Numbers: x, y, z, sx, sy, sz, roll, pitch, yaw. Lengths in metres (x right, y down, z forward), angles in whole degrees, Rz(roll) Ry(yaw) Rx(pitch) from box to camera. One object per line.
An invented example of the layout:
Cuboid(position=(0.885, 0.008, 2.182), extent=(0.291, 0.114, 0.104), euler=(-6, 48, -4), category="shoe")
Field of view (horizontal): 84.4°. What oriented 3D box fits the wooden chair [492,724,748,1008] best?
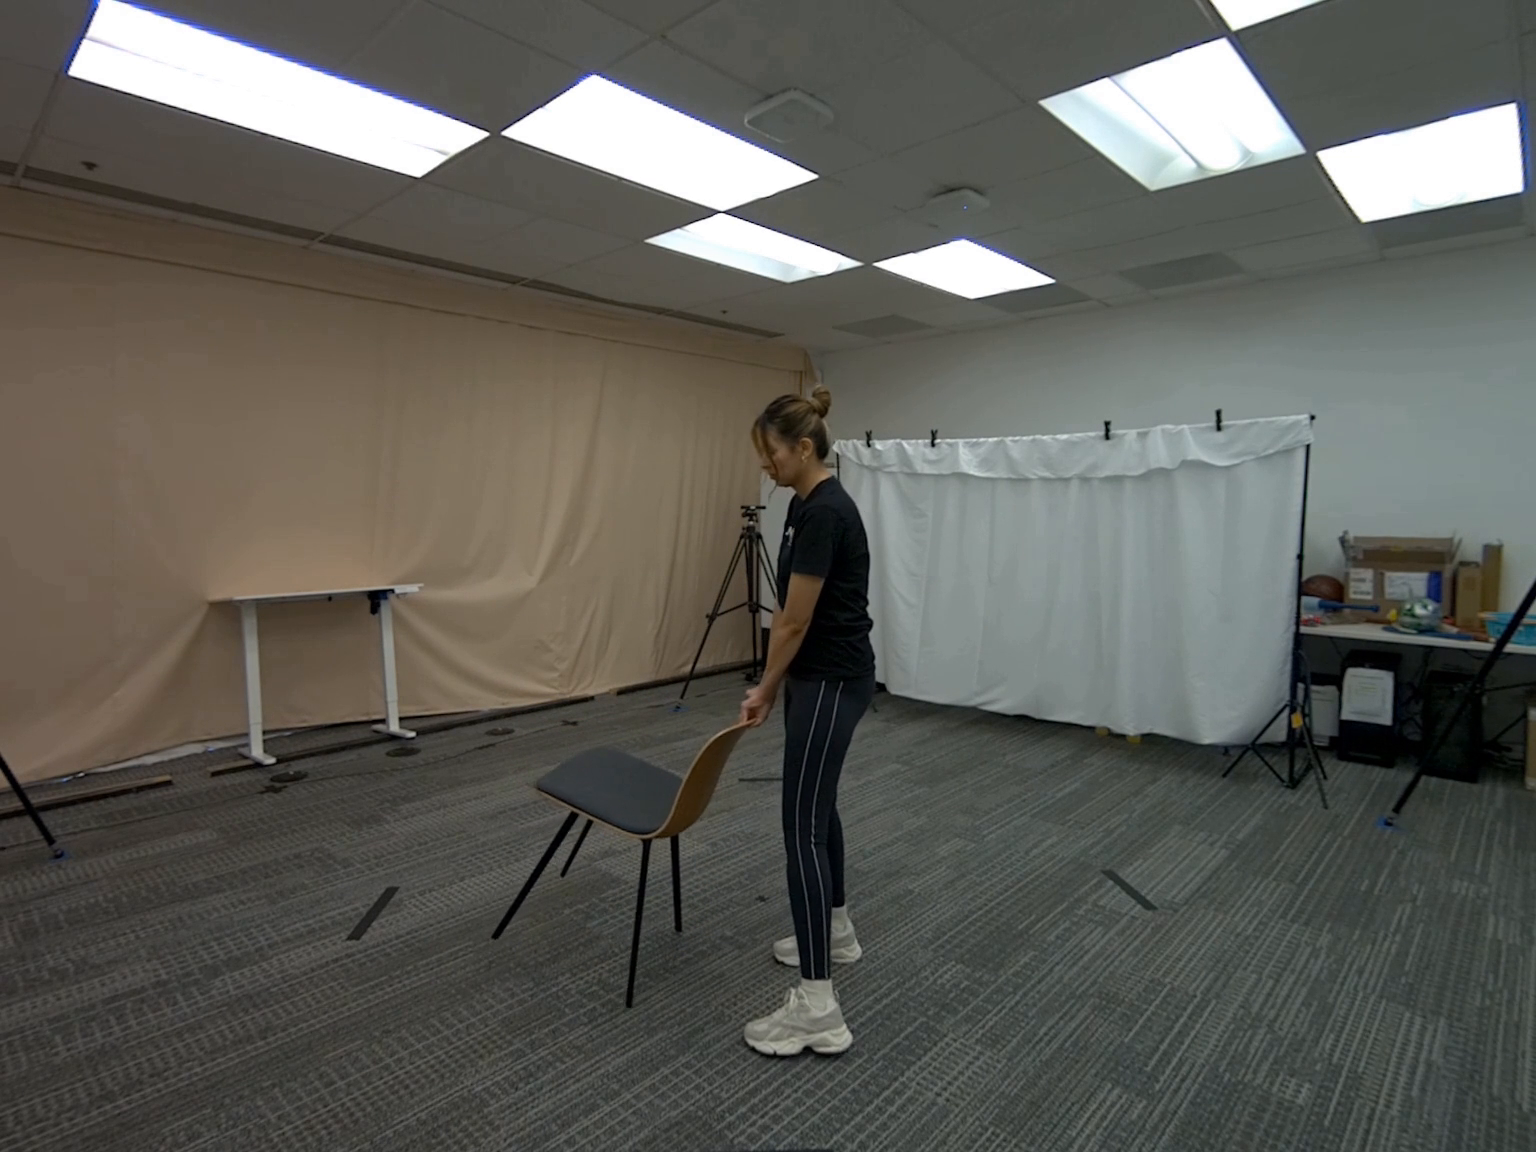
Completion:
Cuboid(position=(-0.421, 0.708, 2.543), extent=(0.532, 0.876, 0.471), euler=(23, 9, 13), category="wooden chair")
